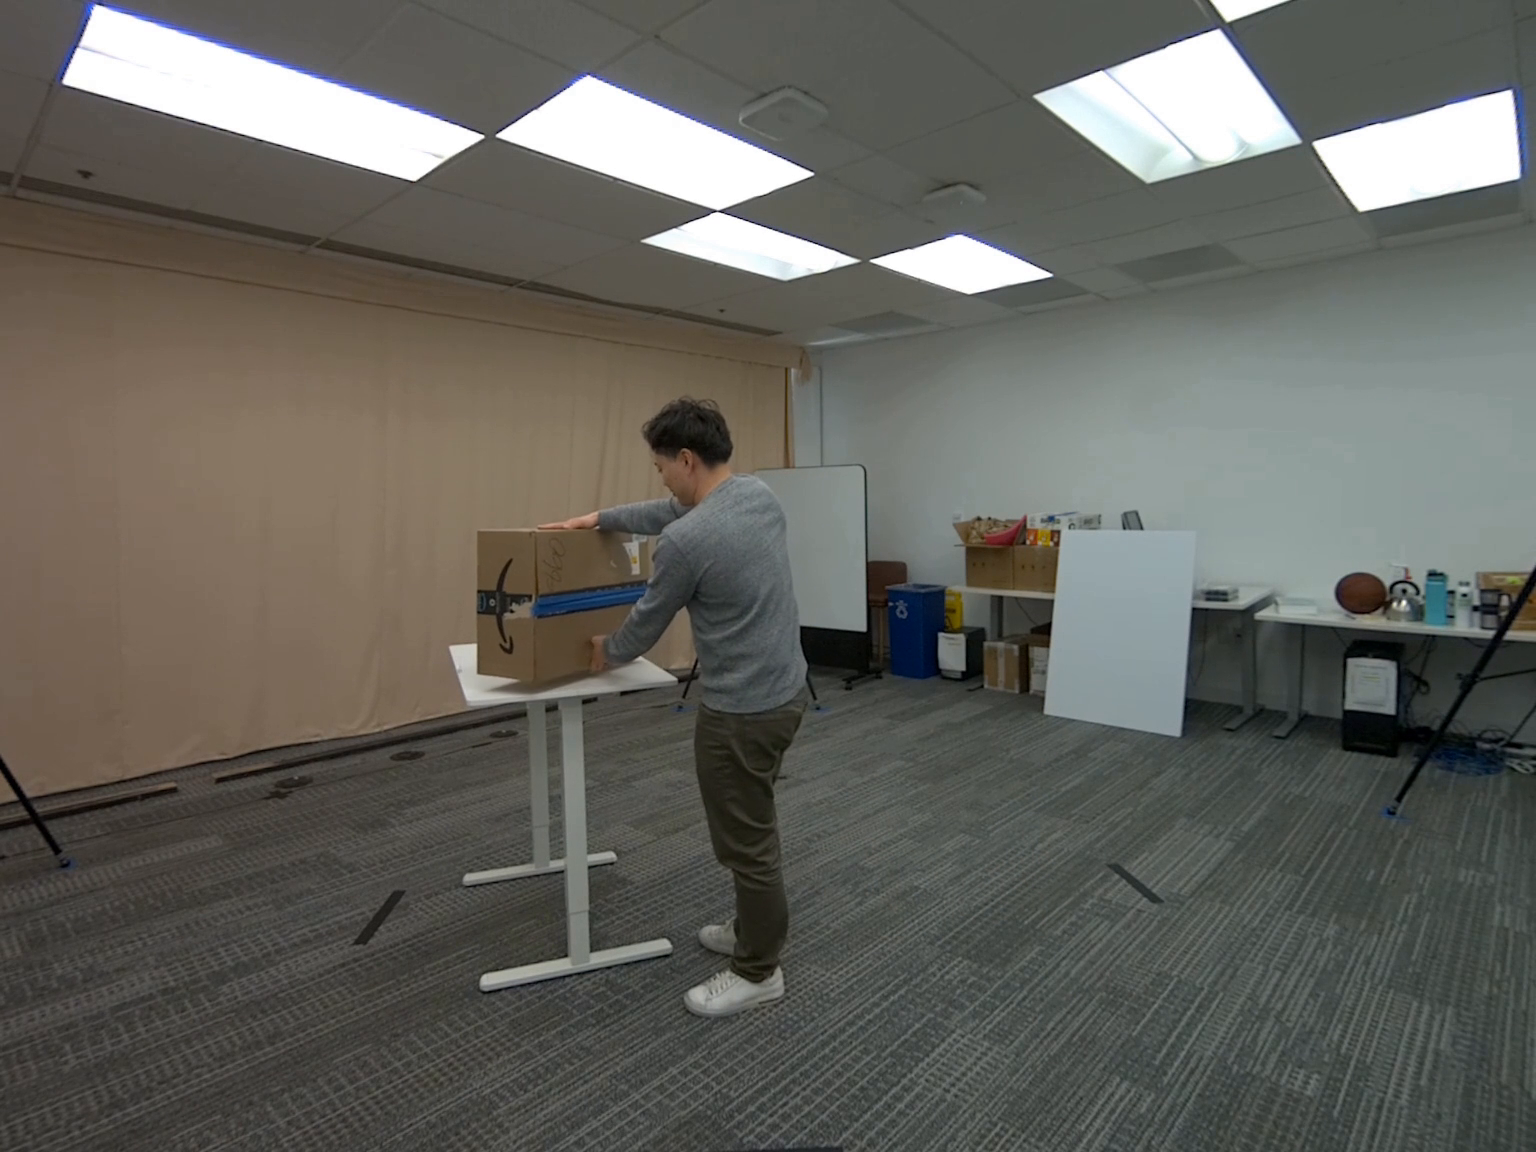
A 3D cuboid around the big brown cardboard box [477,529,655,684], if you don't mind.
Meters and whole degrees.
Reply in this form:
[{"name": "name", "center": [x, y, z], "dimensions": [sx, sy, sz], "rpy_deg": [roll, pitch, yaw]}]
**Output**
[{"name": "big brown cardboard box", "center": [-0.607, 0.062, 2.592], "dimensions": [0.240, 0.417, 0.574], "rpy_deg": [2, 4, 28]}]
